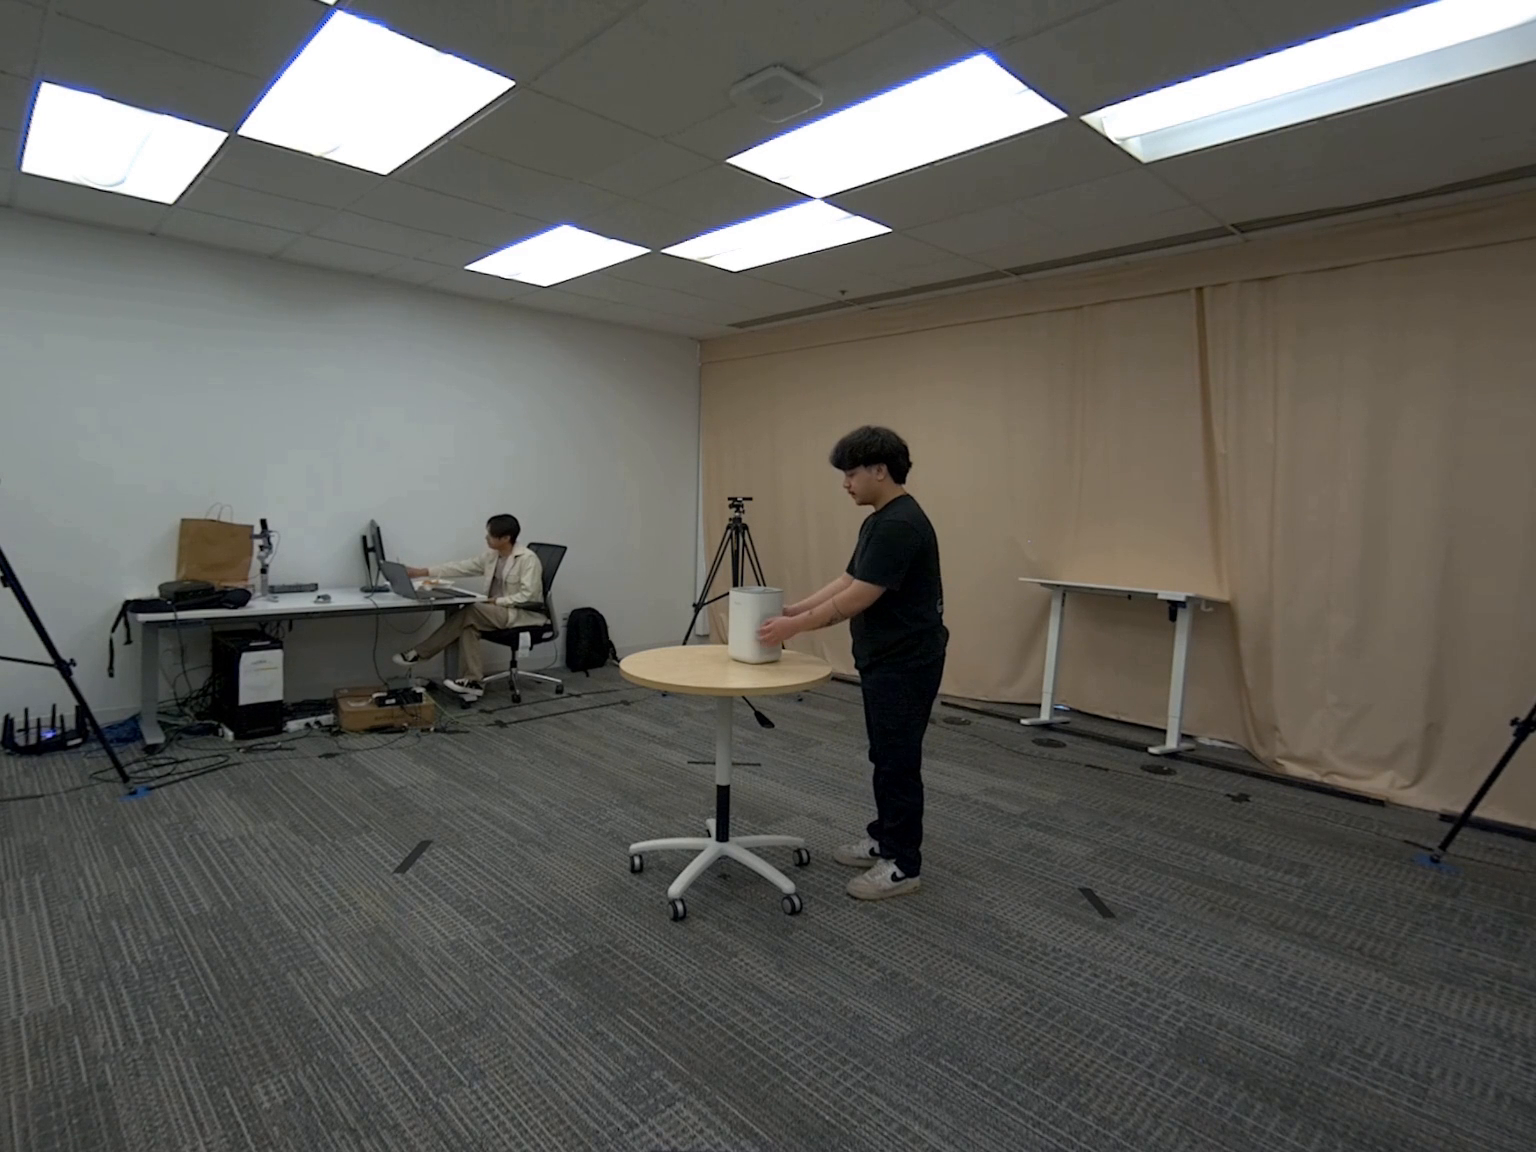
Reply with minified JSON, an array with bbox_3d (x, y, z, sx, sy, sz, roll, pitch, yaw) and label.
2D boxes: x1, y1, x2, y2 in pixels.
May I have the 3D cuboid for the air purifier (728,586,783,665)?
[{"bbox_3d":[-0.051,0.175,3.125,0.168,0.265,0.175,-2,4,-43],"label":"air purifier"}]
